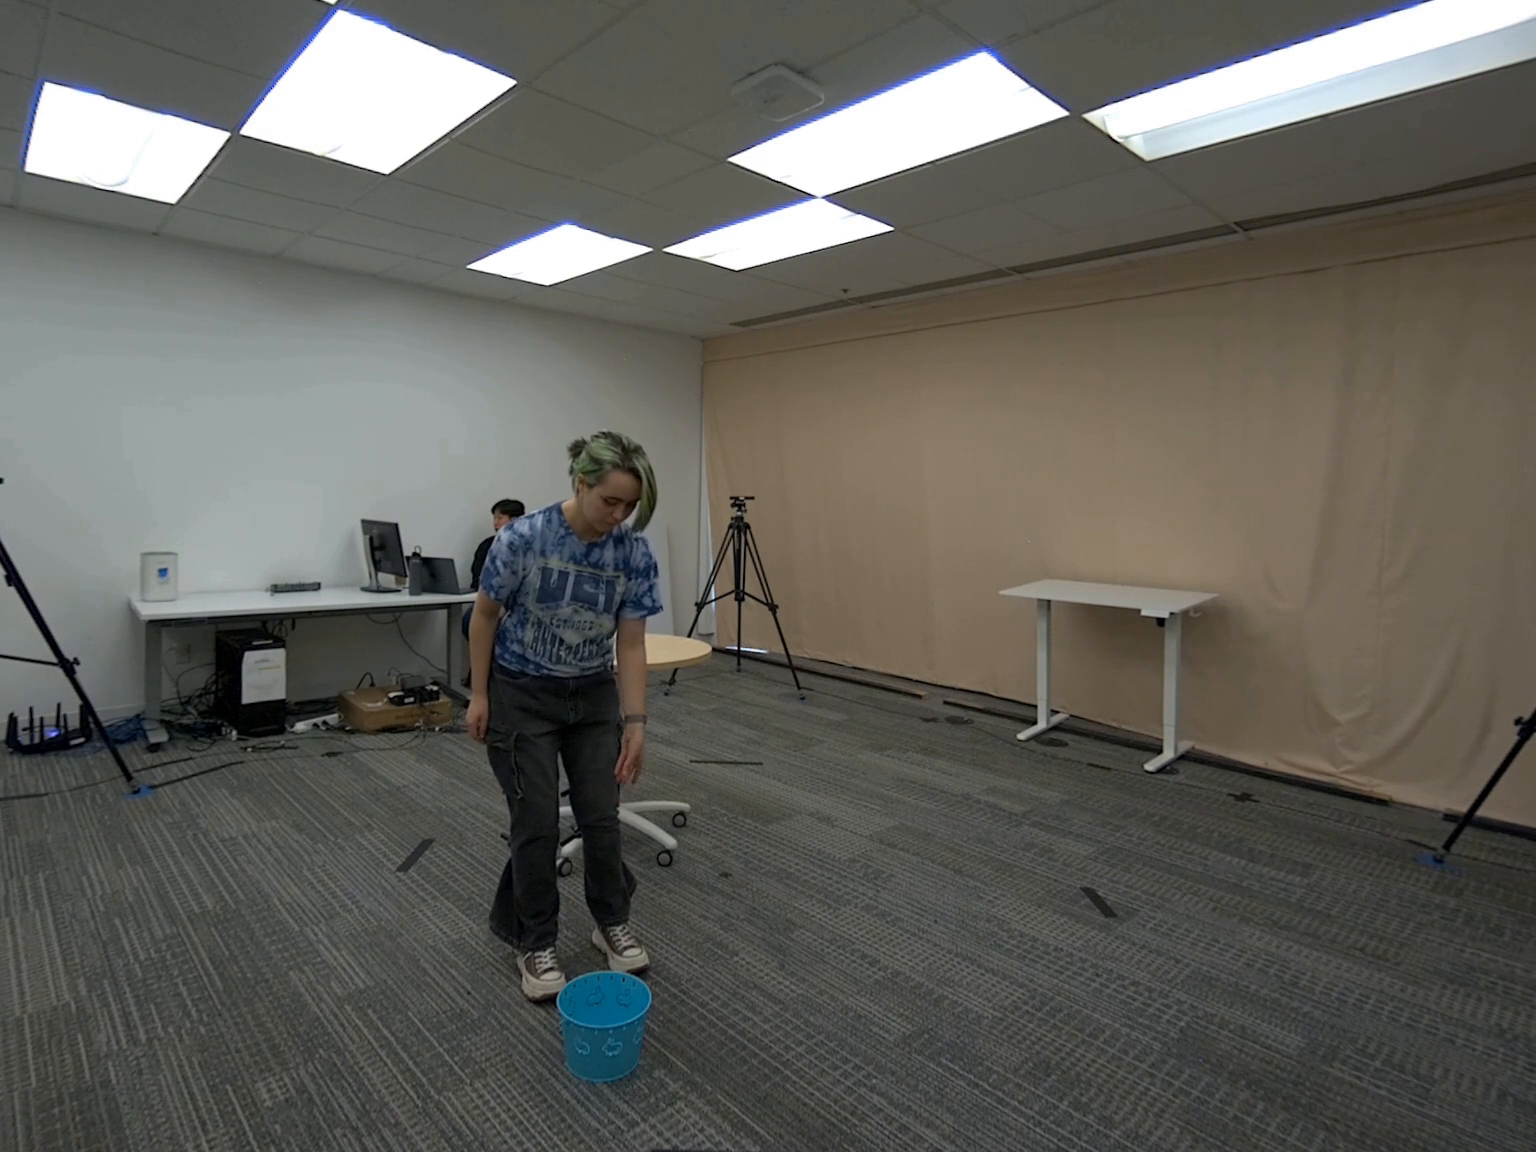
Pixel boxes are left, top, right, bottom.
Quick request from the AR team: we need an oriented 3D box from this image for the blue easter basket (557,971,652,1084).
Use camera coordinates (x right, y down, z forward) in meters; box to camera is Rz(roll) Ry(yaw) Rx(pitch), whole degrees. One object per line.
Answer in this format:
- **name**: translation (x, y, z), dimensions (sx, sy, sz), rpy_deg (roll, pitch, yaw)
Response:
- **blue easter basket**: translation (-0.415, 1.118, 2.080), dimensions (0.243, 0.155, 0.244), rpy_deg (3, 5, -2)
